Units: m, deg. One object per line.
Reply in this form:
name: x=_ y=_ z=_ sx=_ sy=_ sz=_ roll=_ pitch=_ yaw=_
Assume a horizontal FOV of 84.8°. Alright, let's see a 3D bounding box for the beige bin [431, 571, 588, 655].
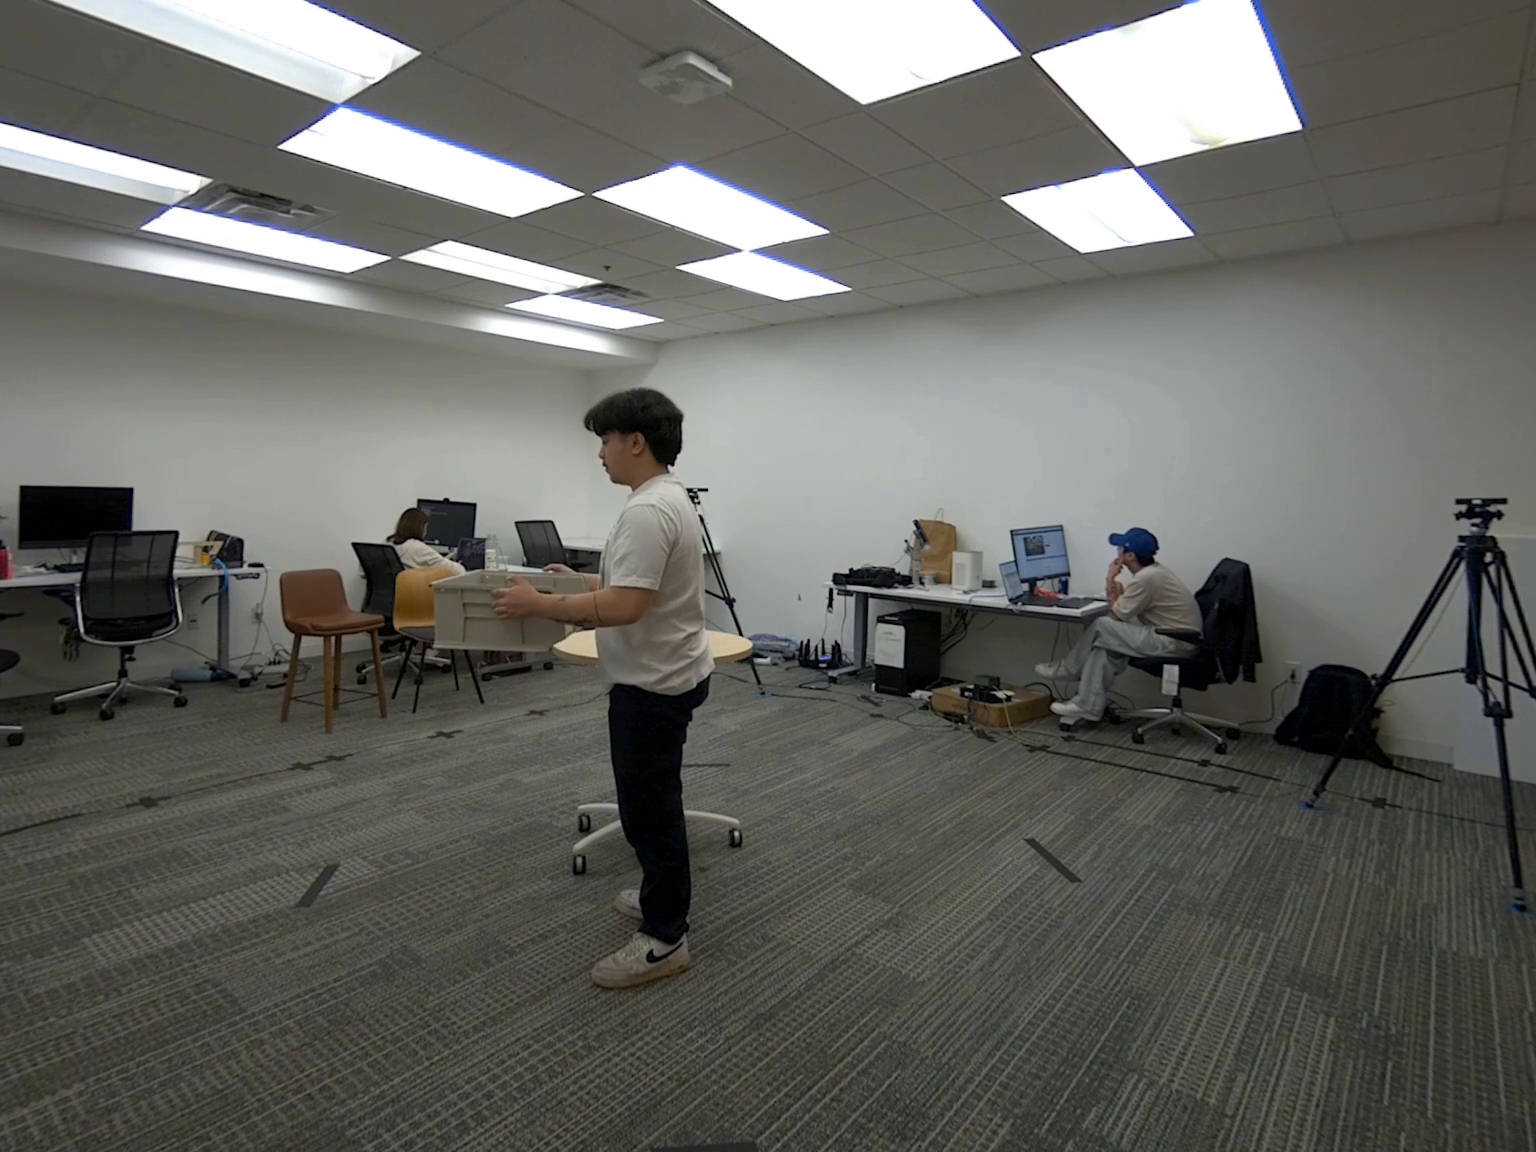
beige bin: x=-0.753 y=0.098 z=2.517 sx=0.379 sy=0.188 sz=0.422 roll=-1 pitch=5 yaw=3
